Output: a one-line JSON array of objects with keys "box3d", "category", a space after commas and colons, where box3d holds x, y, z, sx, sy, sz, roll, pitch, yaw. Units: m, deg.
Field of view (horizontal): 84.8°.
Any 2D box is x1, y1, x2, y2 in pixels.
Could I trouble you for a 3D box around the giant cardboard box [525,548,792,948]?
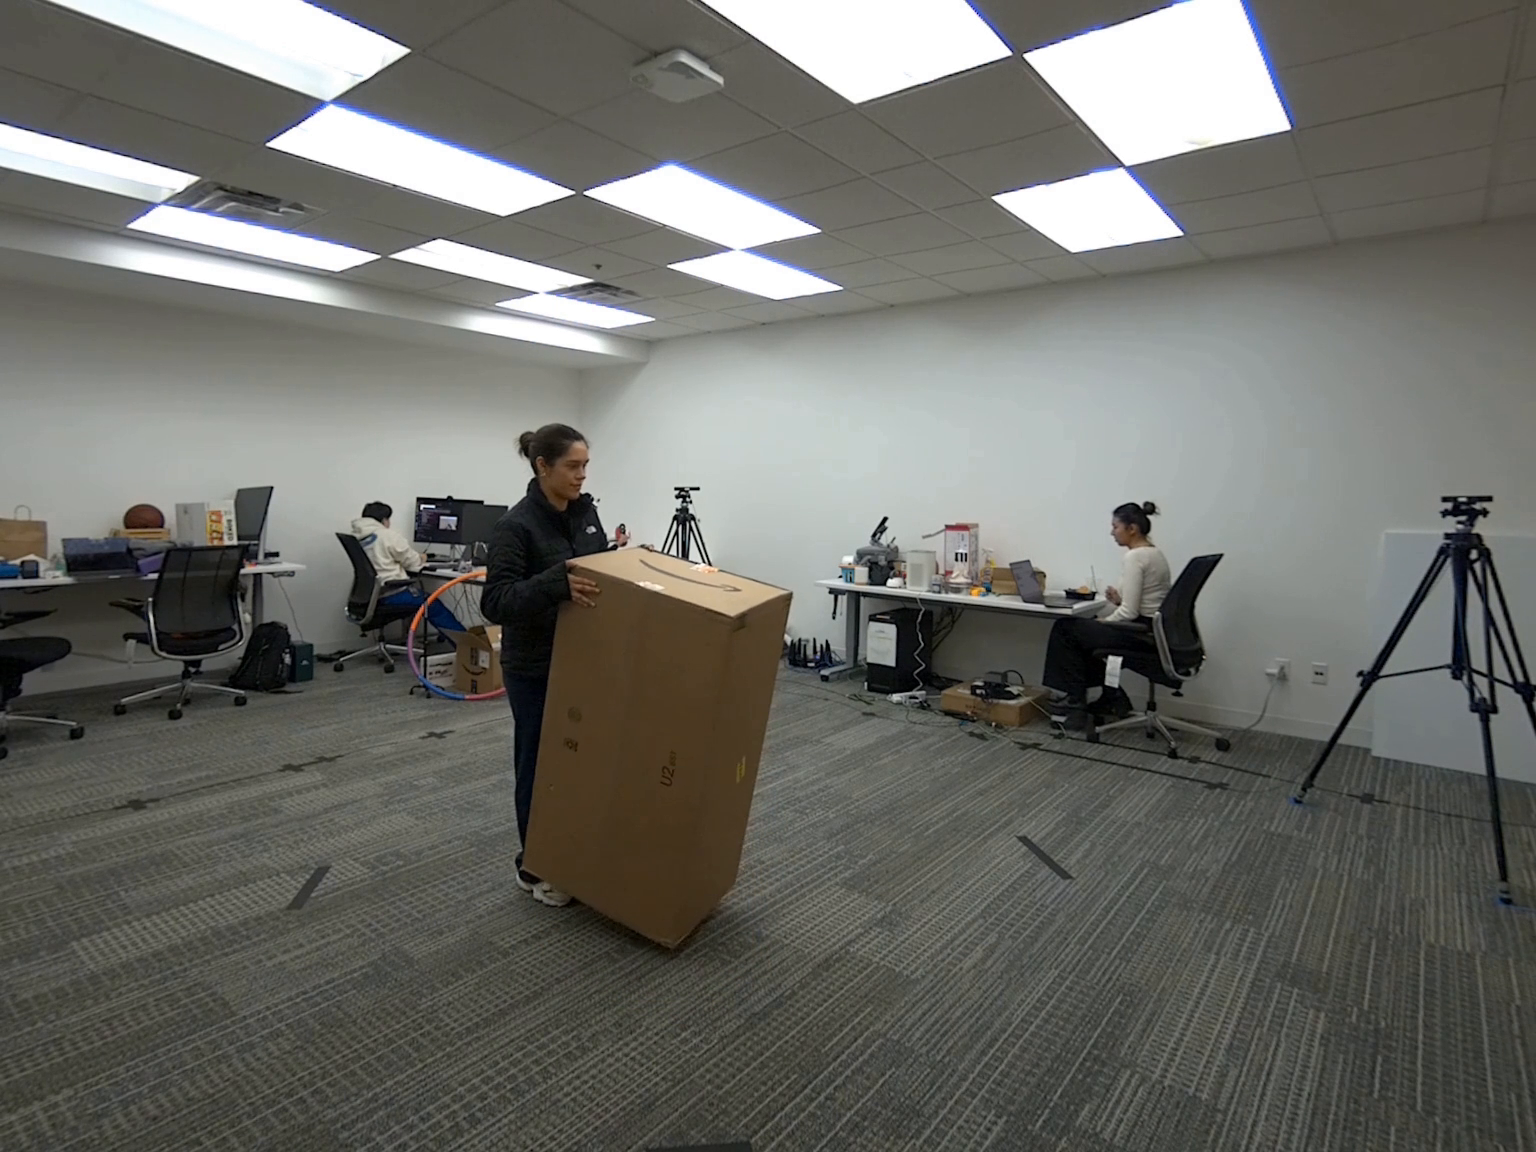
[{"box3d": [-0.337, 0.493, 2.683, 0.595, 1.016, 0.417, 16, 13, 25], "category": "giant cardboard box"}]
